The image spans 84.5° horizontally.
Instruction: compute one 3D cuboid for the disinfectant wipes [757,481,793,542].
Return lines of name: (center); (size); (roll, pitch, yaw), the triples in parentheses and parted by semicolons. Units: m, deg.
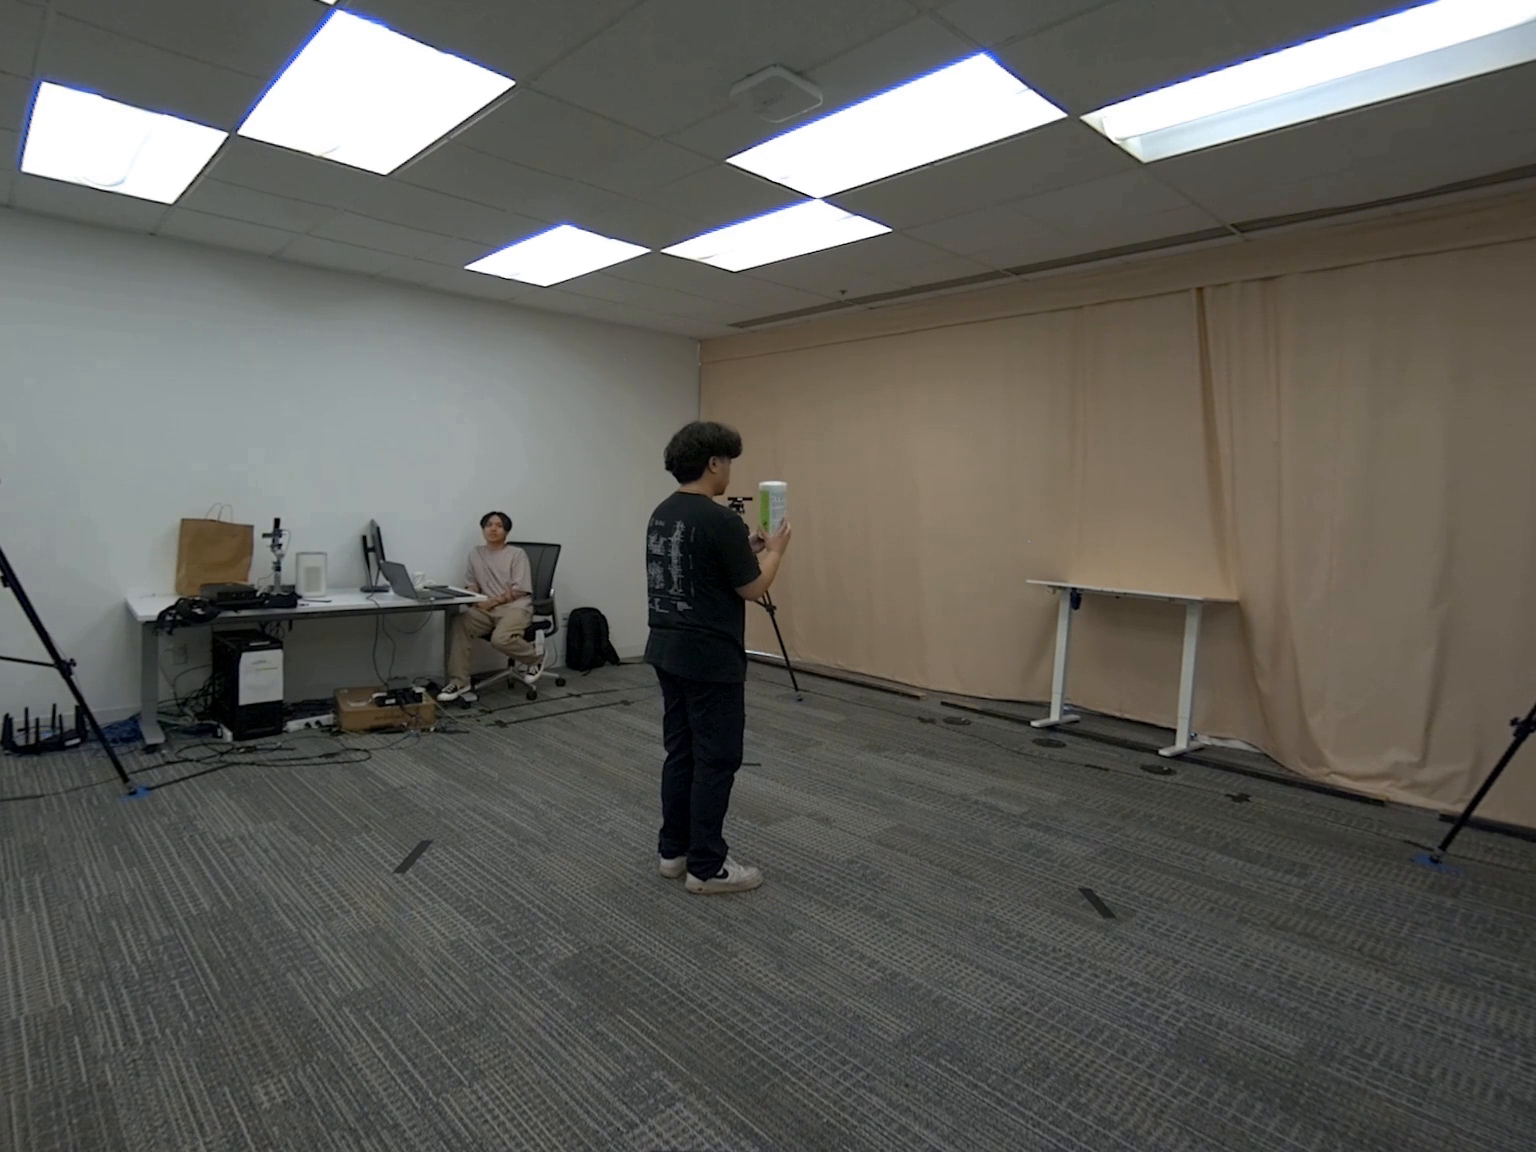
disinfectant wipes: (0.024, -0.251, 3.261); (0.118, 0.216, 0.118); (2, 8, -2)
